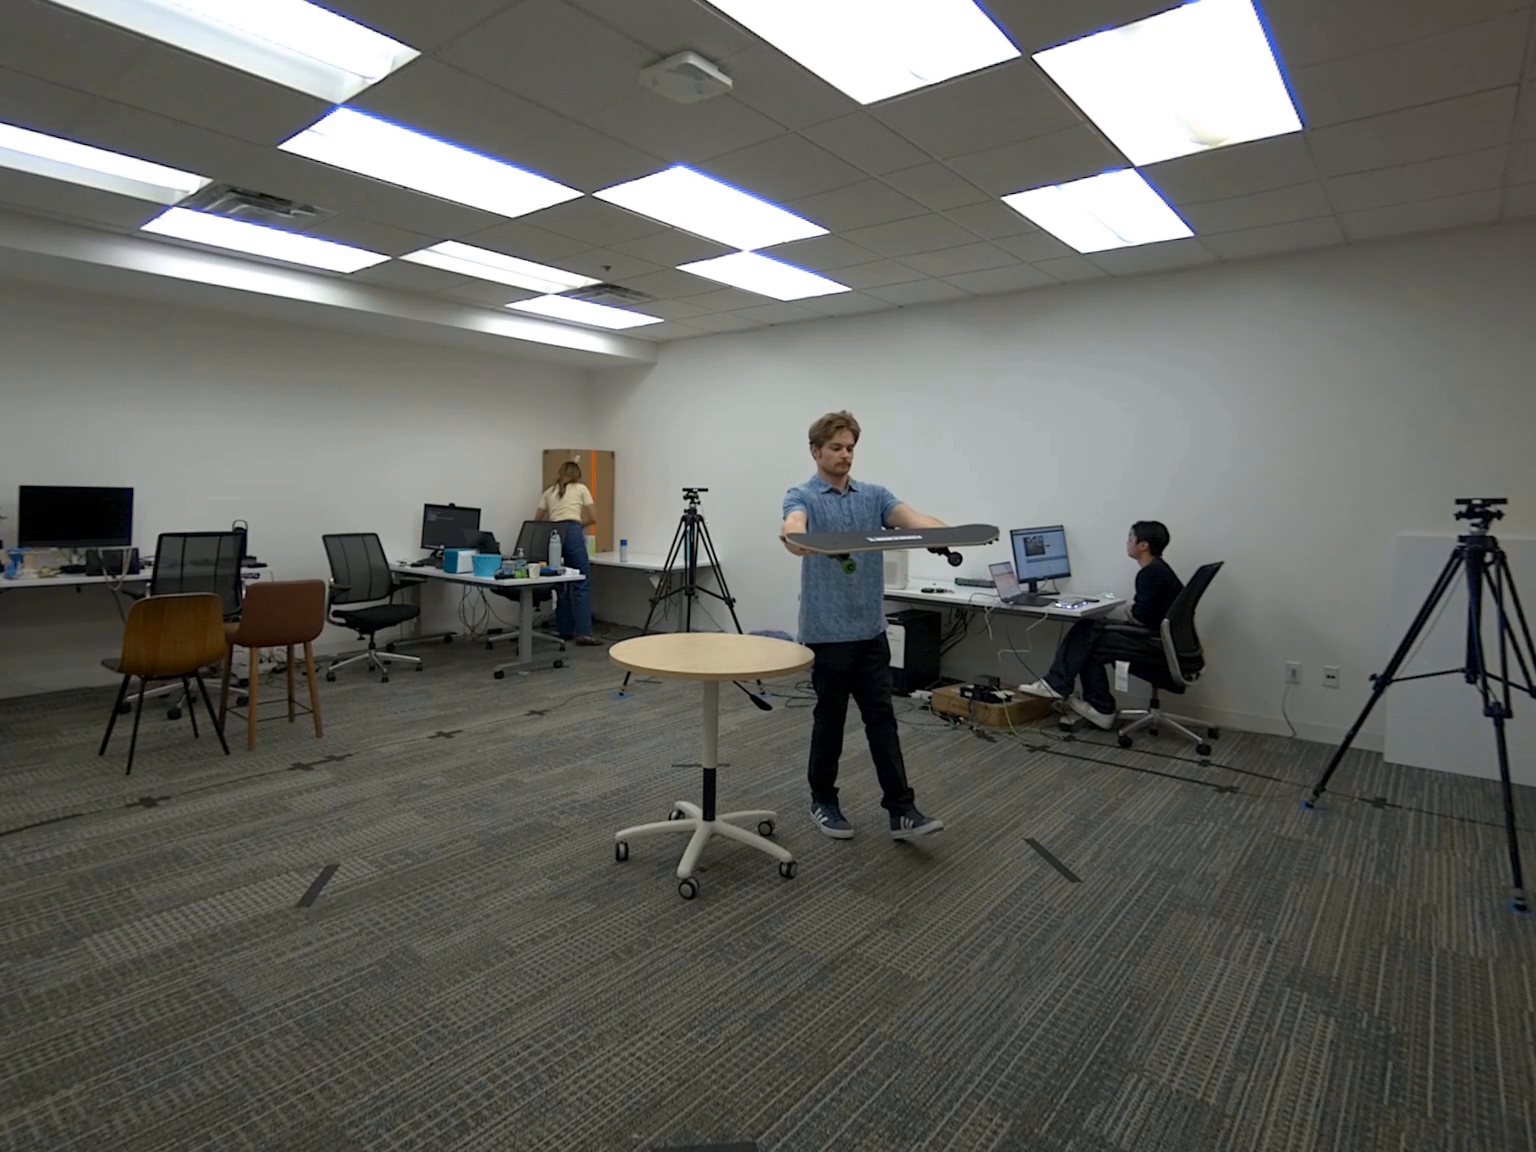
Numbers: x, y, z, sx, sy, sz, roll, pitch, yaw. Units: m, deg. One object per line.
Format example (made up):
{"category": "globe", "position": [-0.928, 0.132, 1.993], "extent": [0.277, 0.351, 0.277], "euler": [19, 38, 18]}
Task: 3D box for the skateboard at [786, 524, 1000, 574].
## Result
{"category": "skateboard", "position": [0.439, -0.102, 2.961], "extent": [0.775, 0.108, 0.199], "euler": [-4, 19, -13]}
